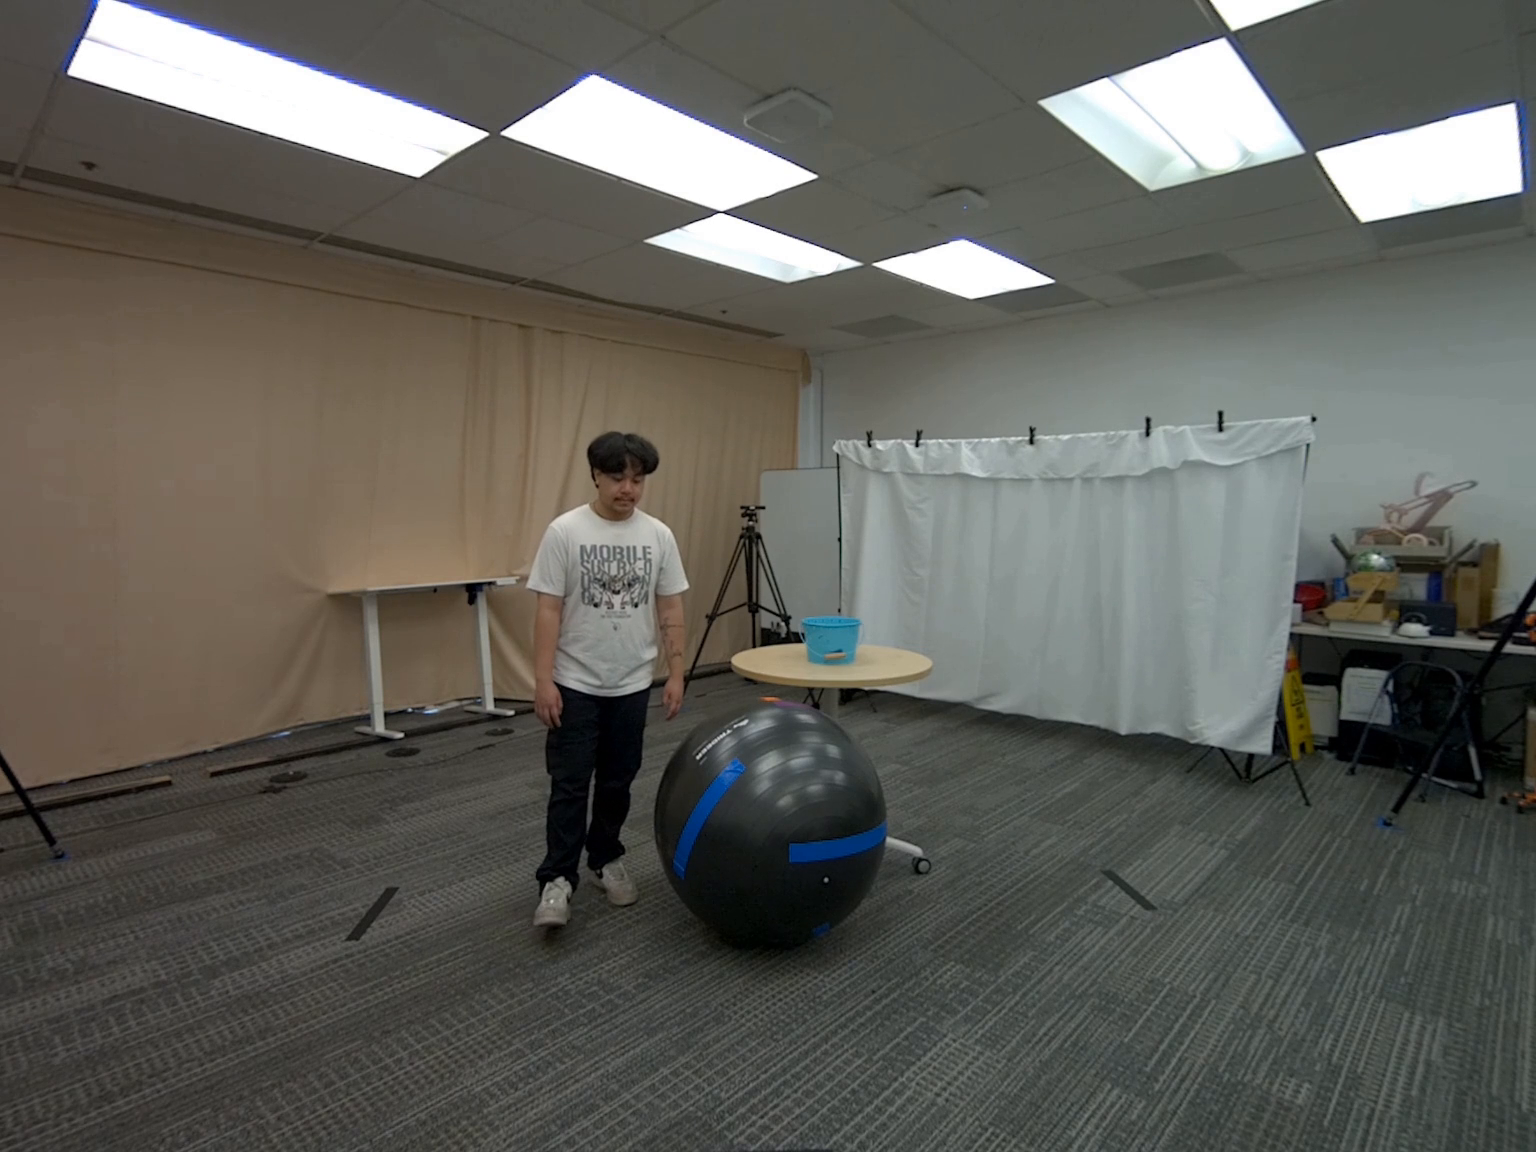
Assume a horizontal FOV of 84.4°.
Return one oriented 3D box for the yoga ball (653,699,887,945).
[{"bbox_3d":[0.010,0.795,2.752,0.757,0.756,0.761,0,4,-2],"label":"yoga ball"}]
